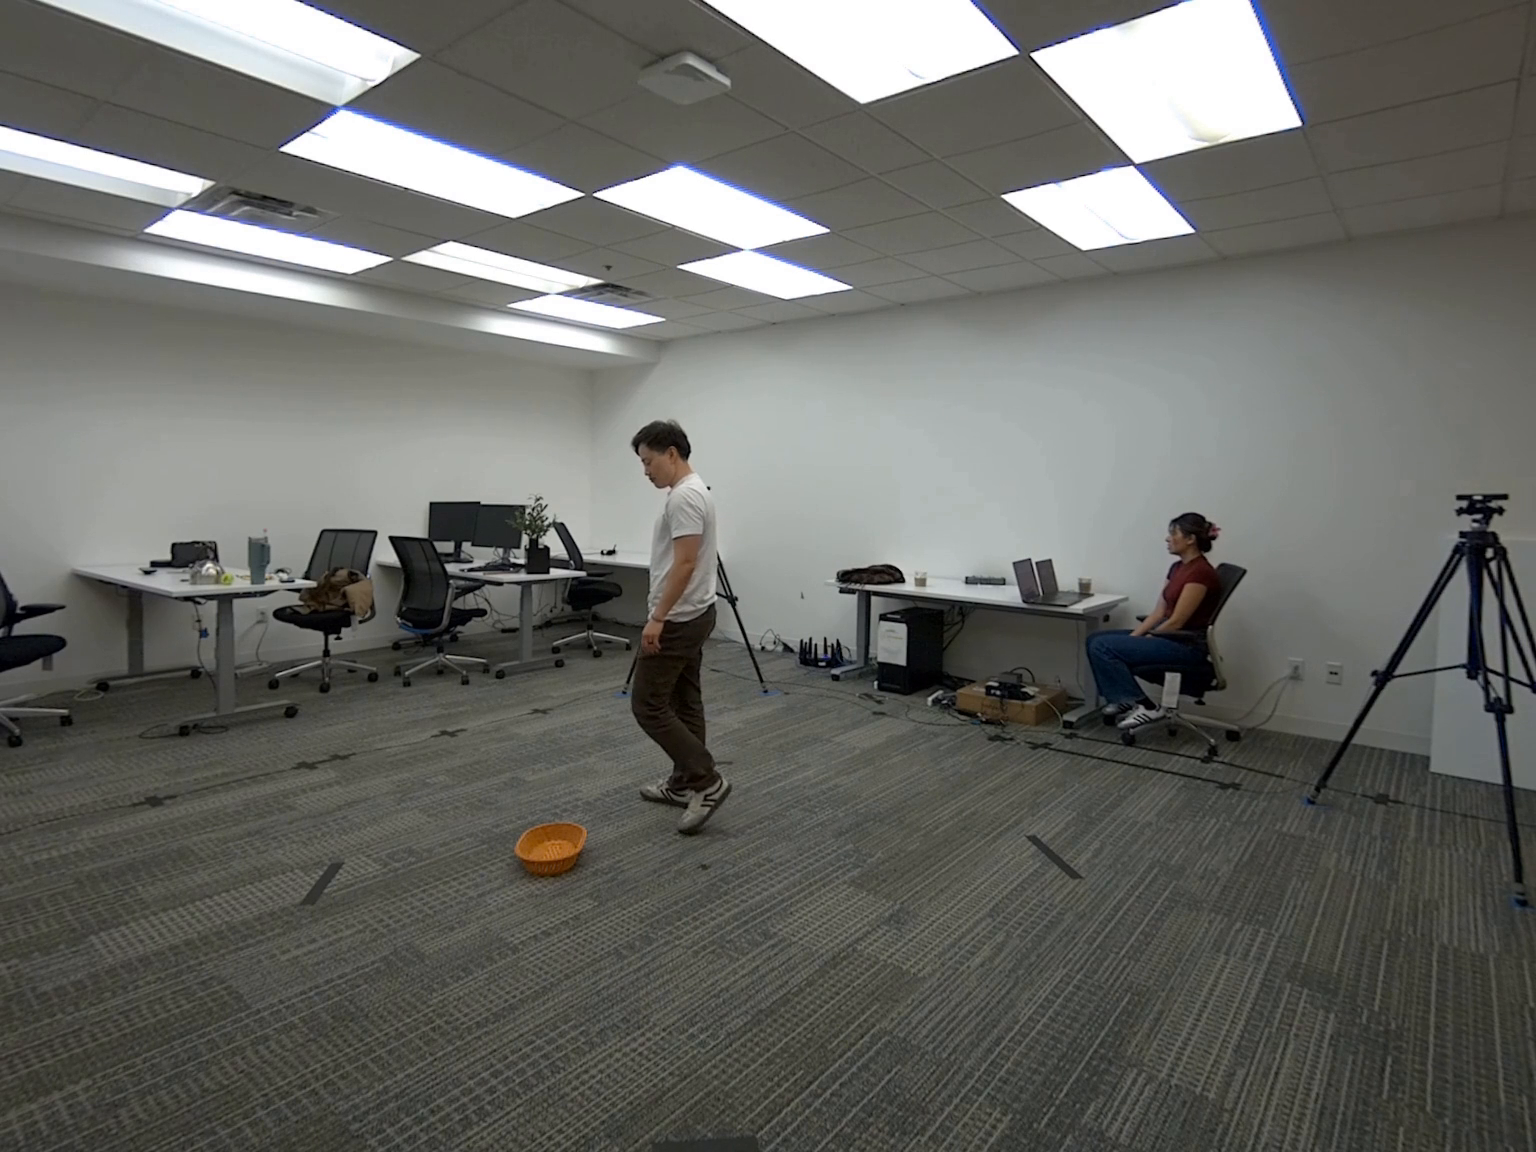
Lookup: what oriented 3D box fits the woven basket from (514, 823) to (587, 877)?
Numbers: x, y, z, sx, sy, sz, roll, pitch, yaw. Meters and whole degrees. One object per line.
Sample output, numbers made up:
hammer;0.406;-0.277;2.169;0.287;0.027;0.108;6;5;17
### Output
woven basket;-0.814;1.014;3.161;0.252;0.073;0.352;0;5;-3
